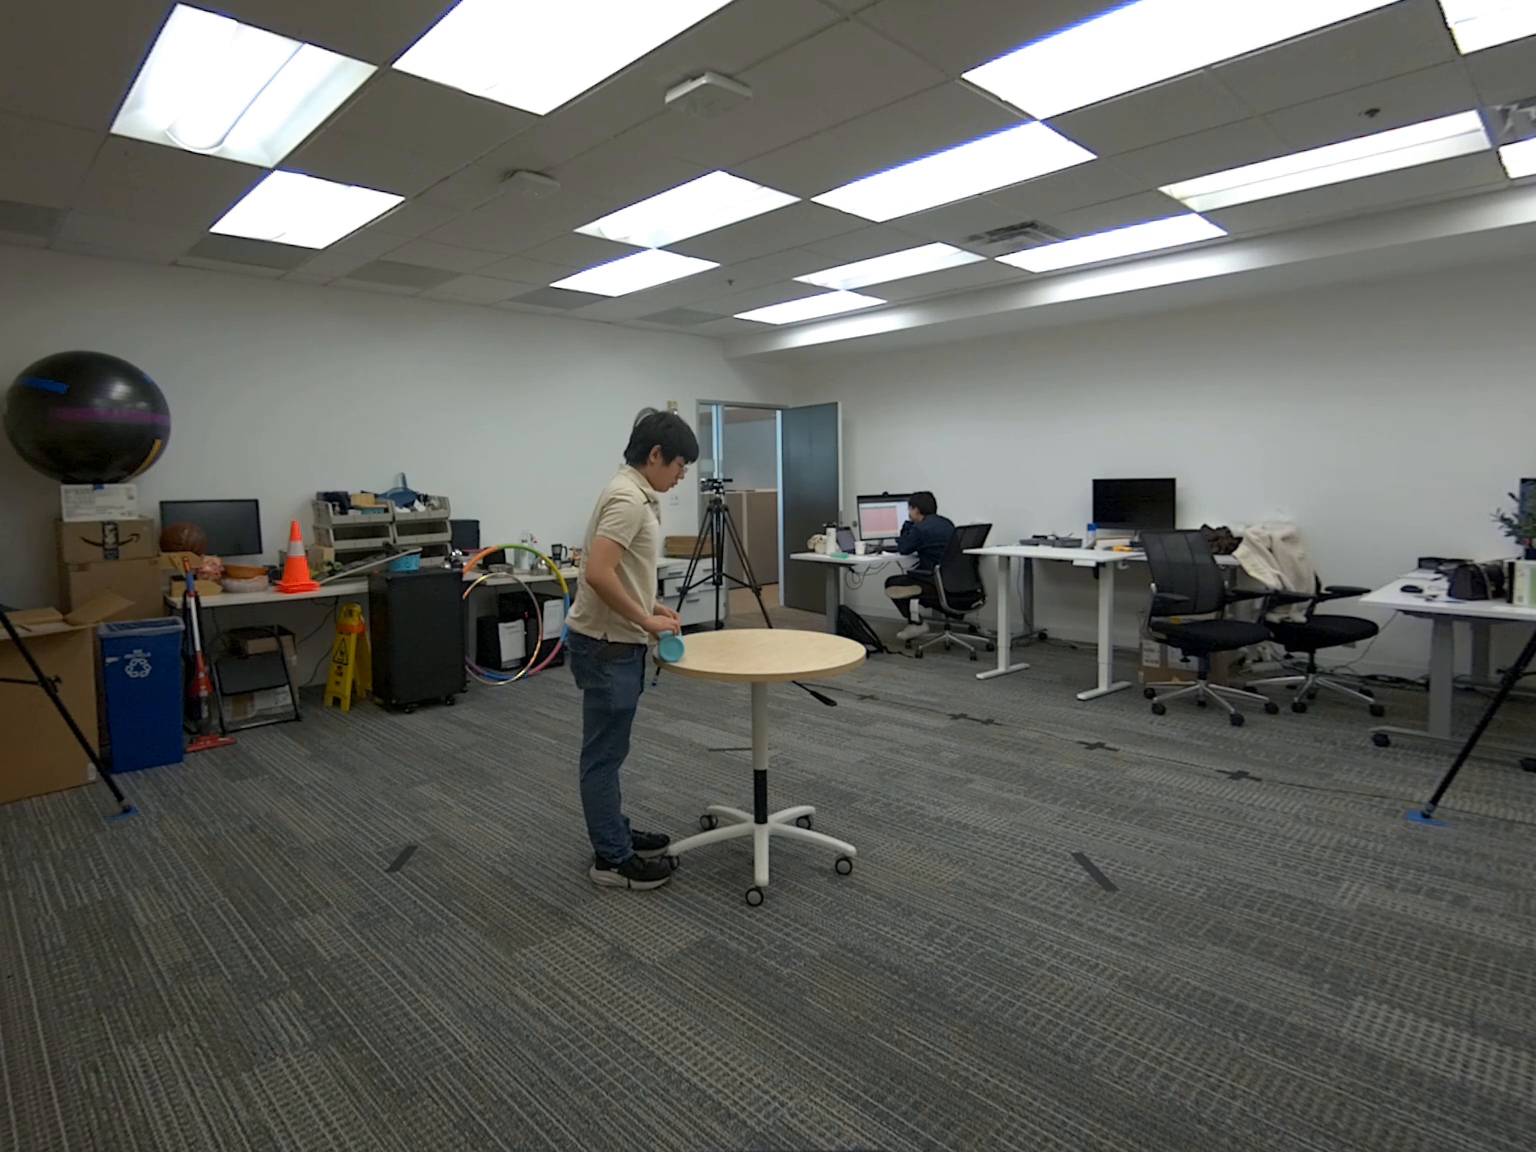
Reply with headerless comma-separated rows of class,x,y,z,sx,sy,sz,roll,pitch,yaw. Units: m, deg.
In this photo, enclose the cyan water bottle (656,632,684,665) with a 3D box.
cyan water bottle,-0.347,0.232,3.013,0.092,0.092,0.286,-2,5,-8
